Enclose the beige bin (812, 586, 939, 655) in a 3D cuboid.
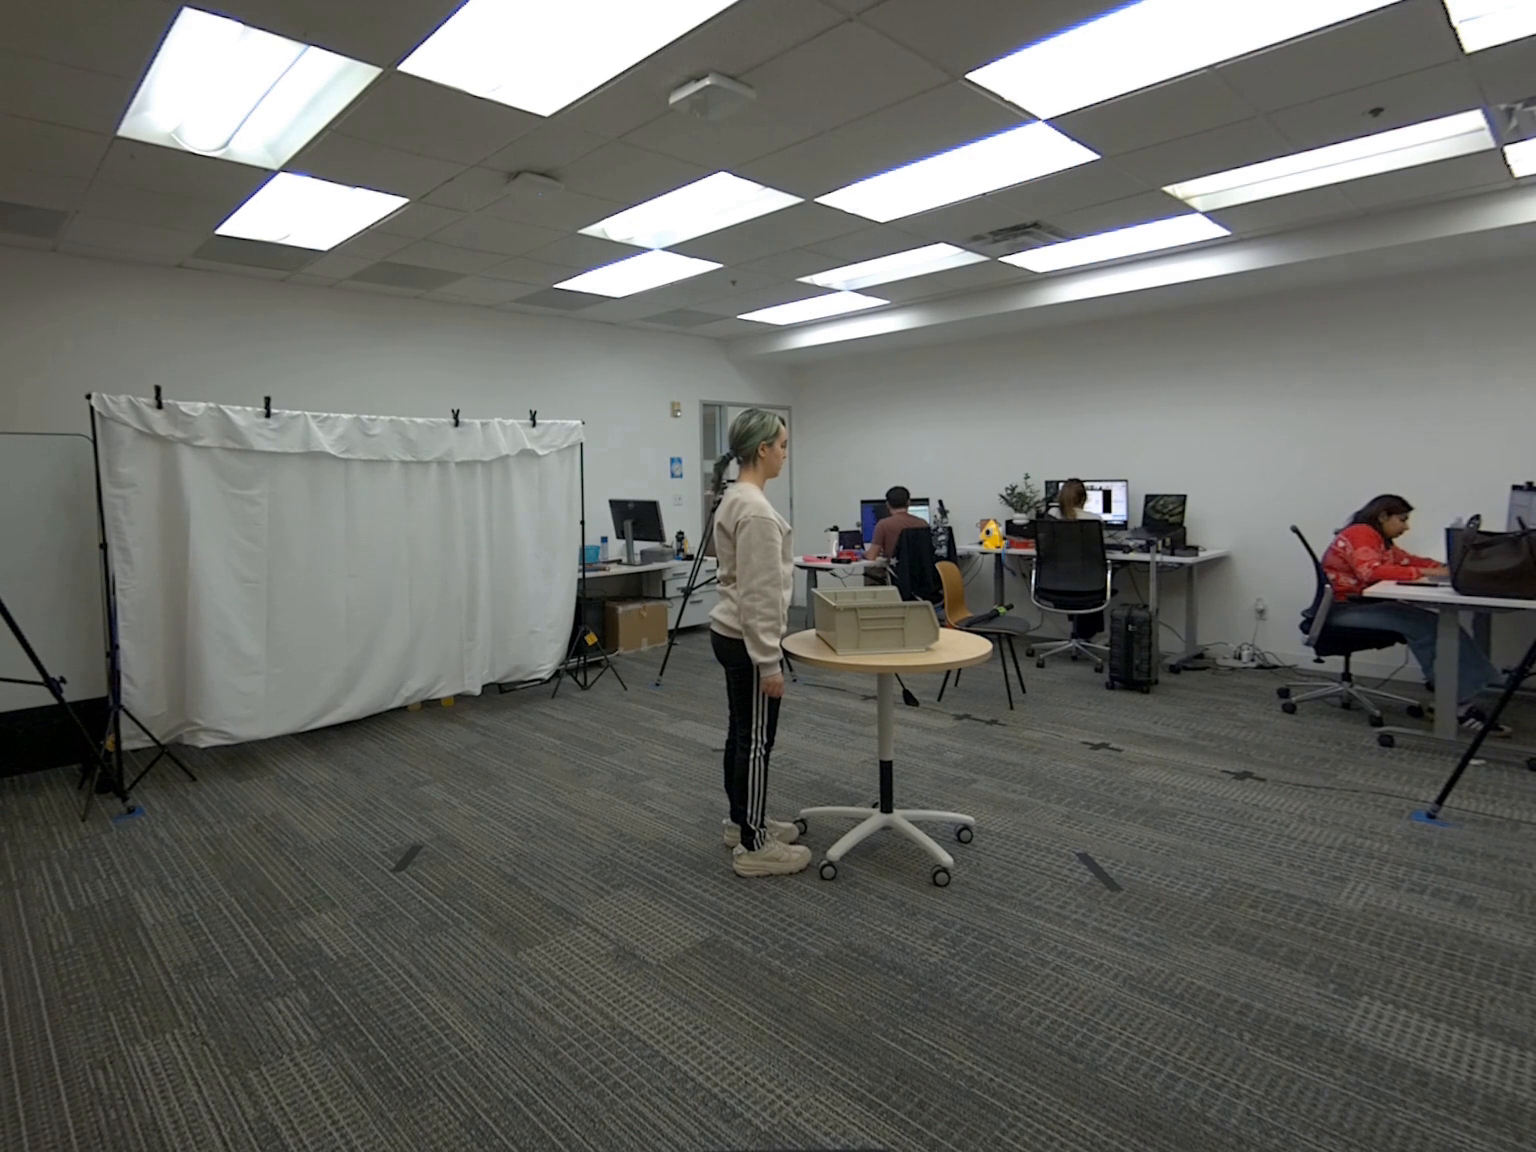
[{"bbox_3d":[0.382,0.158,3.169,0.375,0.188,0.427,-3,7,-7],"label":"beige bin"}]
